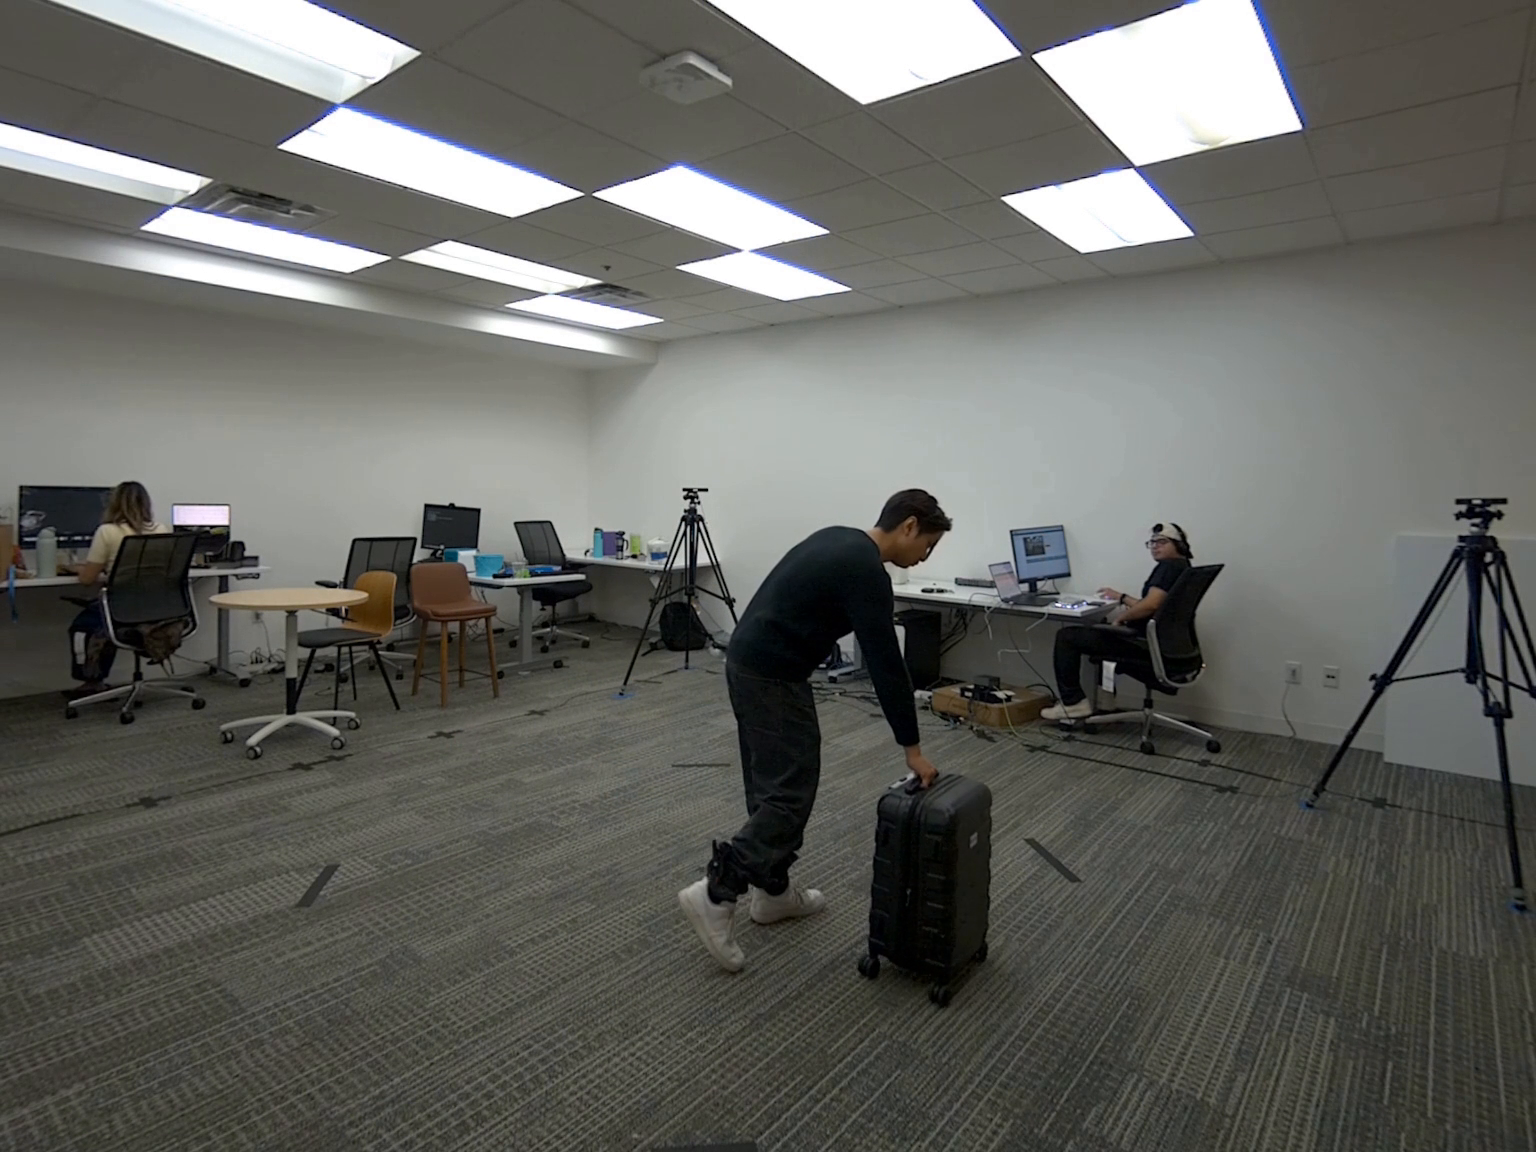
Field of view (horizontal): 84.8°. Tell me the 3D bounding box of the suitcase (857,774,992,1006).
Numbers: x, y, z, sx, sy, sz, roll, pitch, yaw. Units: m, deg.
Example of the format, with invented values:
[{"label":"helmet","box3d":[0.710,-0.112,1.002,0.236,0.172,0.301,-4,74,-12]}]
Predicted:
[{"label":"suitcase","box3d":[0.484,0.872,2.500,0.256,0.548,0.364,5,3,36]}]
